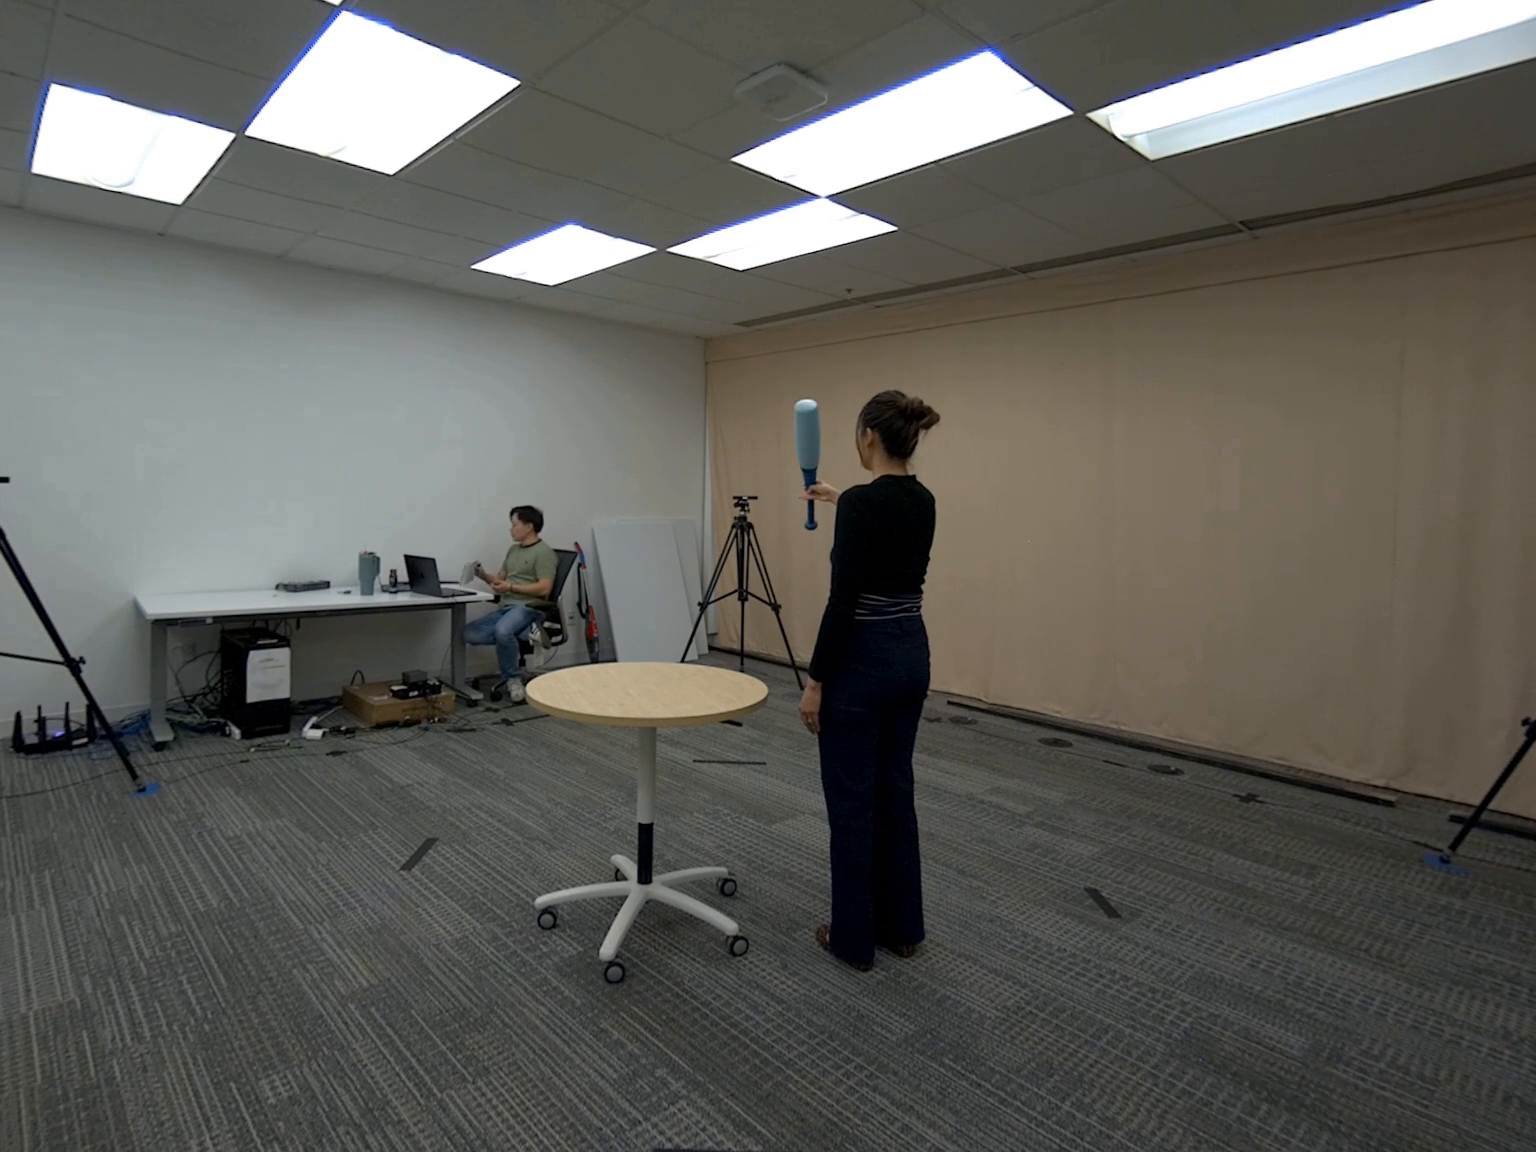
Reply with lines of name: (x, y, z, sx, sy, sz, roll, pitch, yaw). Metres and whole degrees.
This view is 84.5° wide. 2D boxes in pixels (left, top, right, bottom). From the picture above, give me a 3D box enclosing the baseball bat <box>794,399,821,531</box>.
baseball bat: (0.145, -0.386, 3.072, 0.089, 0.530, 0.091, -4, 38, 2)
